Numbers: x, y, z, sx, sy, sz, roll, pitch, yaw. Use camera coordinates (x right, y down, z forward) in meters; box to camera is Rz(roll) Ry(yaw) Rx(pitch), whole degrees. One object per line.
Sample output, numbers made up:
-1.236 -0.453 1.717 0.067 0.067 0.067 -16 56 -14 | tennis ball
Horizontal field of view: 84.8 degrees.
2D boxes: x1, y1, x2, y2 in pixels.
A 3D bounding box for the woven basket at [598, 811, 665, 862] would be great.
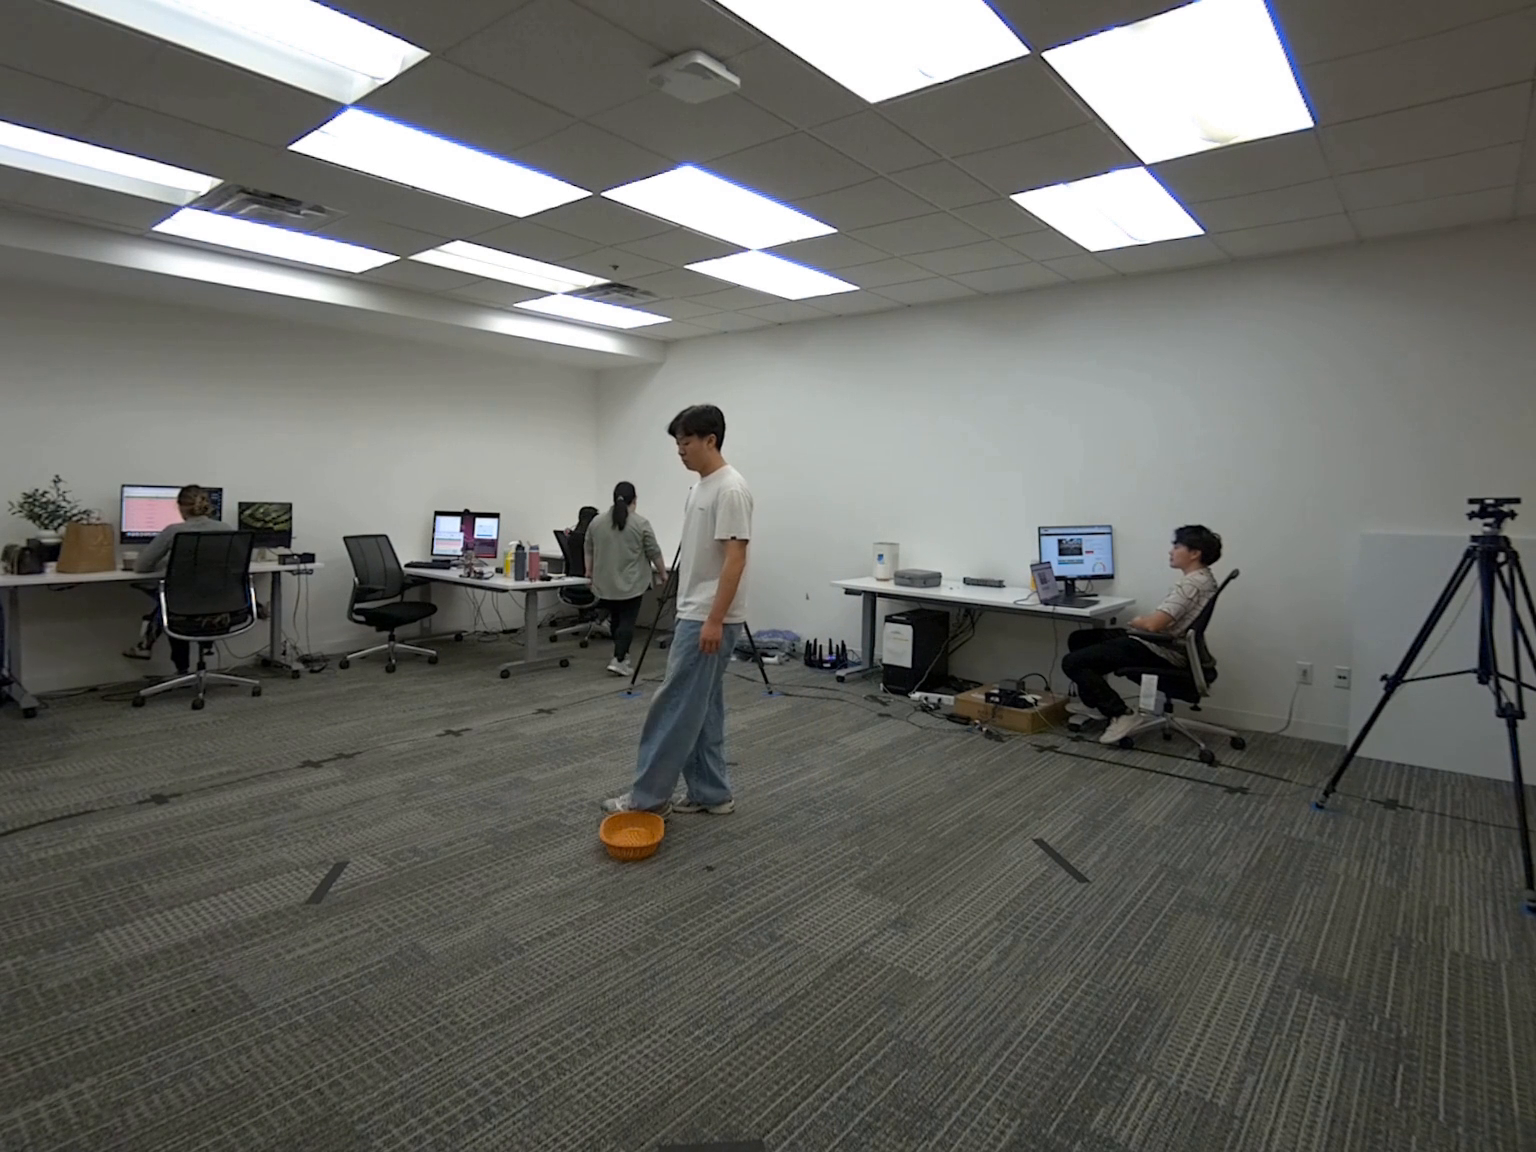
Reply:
-0.533 1.007 3.279 0.253 0.073 0.351 1 5 -1 | woven basket
